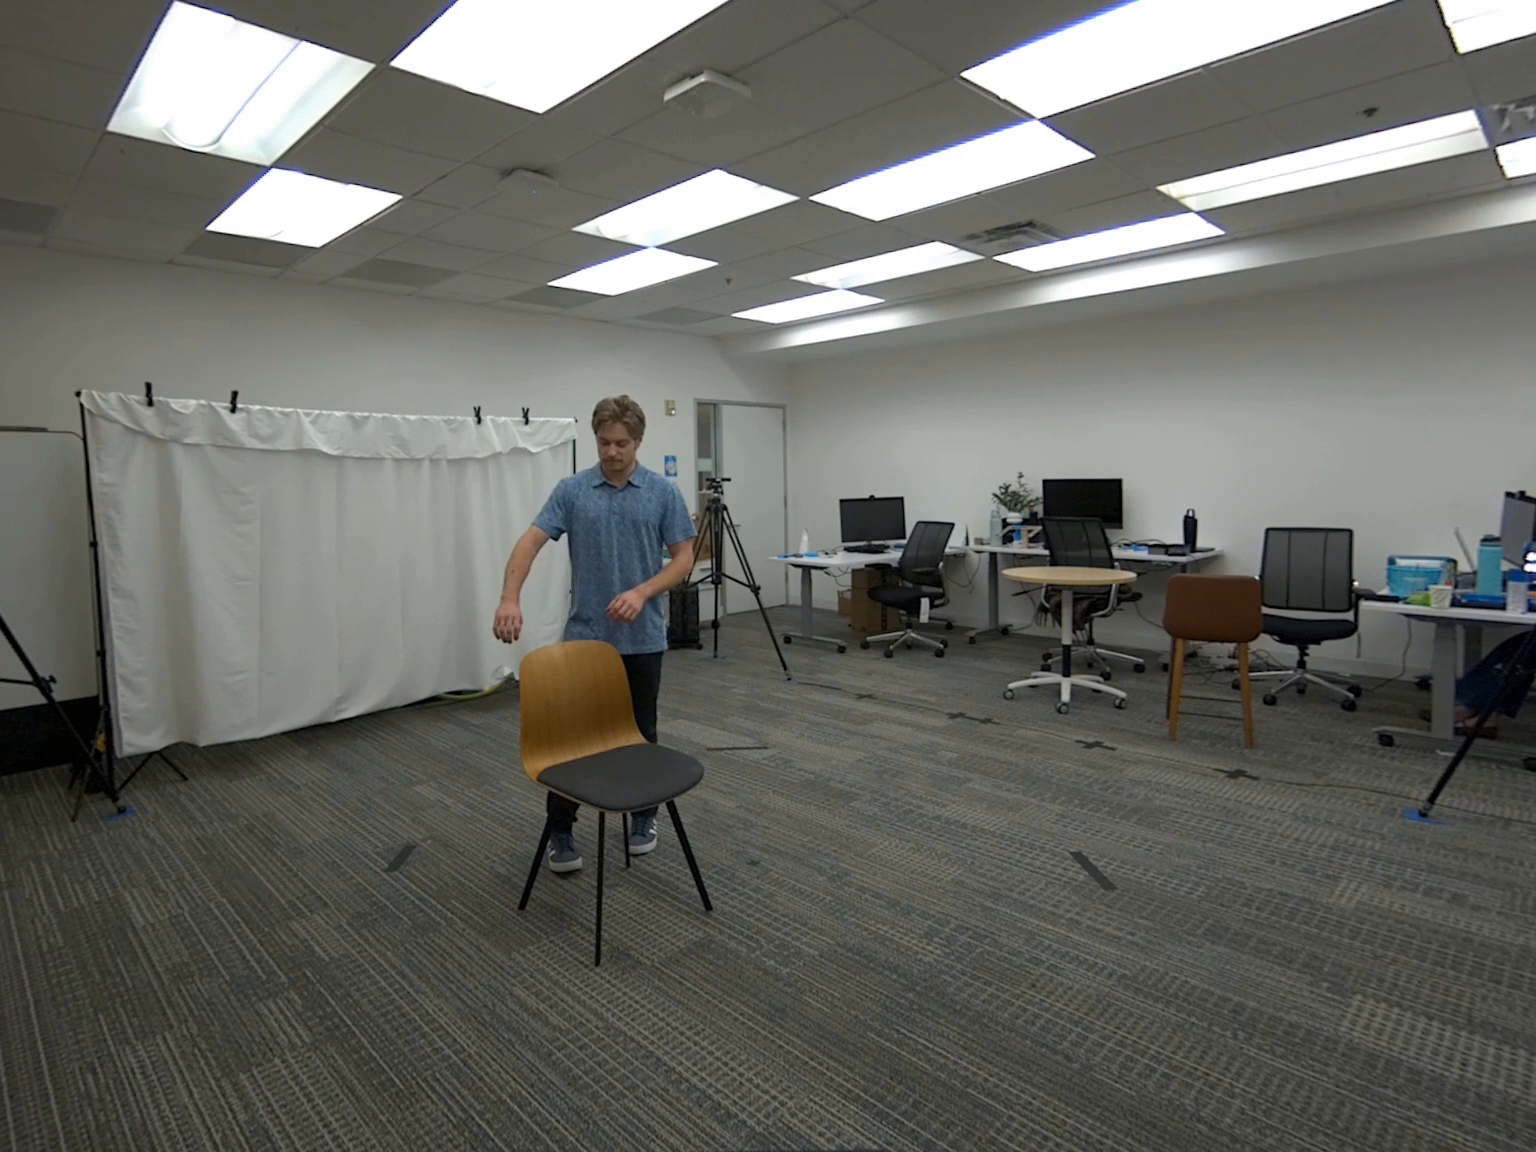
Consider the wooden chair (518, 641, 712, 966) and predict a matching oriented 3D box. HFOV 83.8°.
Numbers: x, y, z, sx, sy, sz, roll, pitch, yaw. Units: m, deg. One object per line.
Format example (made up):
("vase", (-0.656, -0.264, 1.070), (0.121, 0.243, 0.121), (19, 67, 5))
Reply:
("wooden chair", (-0.496, 0.669, 2.738), (0.465, 0.876, 0.538), (-6, 2, -44))
